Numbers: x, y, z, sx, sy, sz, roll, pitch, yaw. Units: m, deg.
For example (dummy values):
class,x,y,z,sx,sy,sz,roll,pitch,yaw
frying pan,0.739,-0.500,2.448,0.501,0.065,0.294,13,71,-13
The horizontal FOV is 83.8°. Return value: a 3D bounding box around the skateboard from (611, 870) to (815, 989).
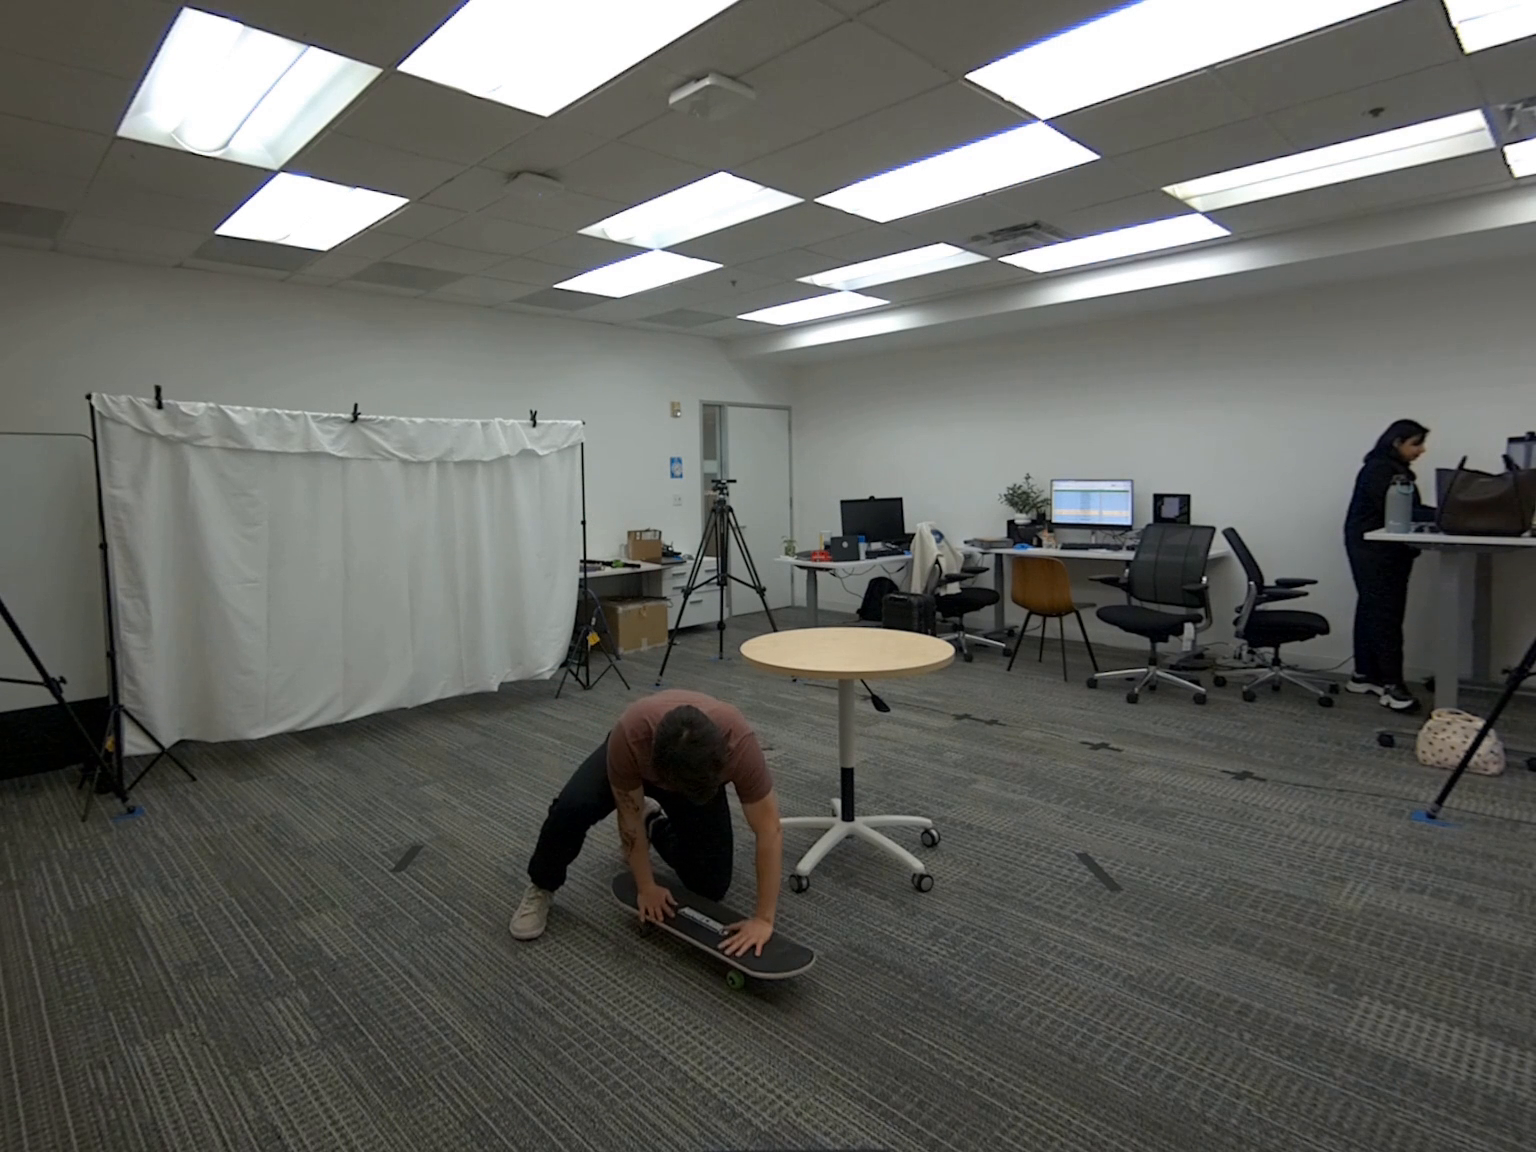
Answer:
class,x,y,z,sx,sy,sz,roll,pitch,yaw
skateboard,-0.177,1.061,2.541,0.810,0.110,0.189,5,10,44
